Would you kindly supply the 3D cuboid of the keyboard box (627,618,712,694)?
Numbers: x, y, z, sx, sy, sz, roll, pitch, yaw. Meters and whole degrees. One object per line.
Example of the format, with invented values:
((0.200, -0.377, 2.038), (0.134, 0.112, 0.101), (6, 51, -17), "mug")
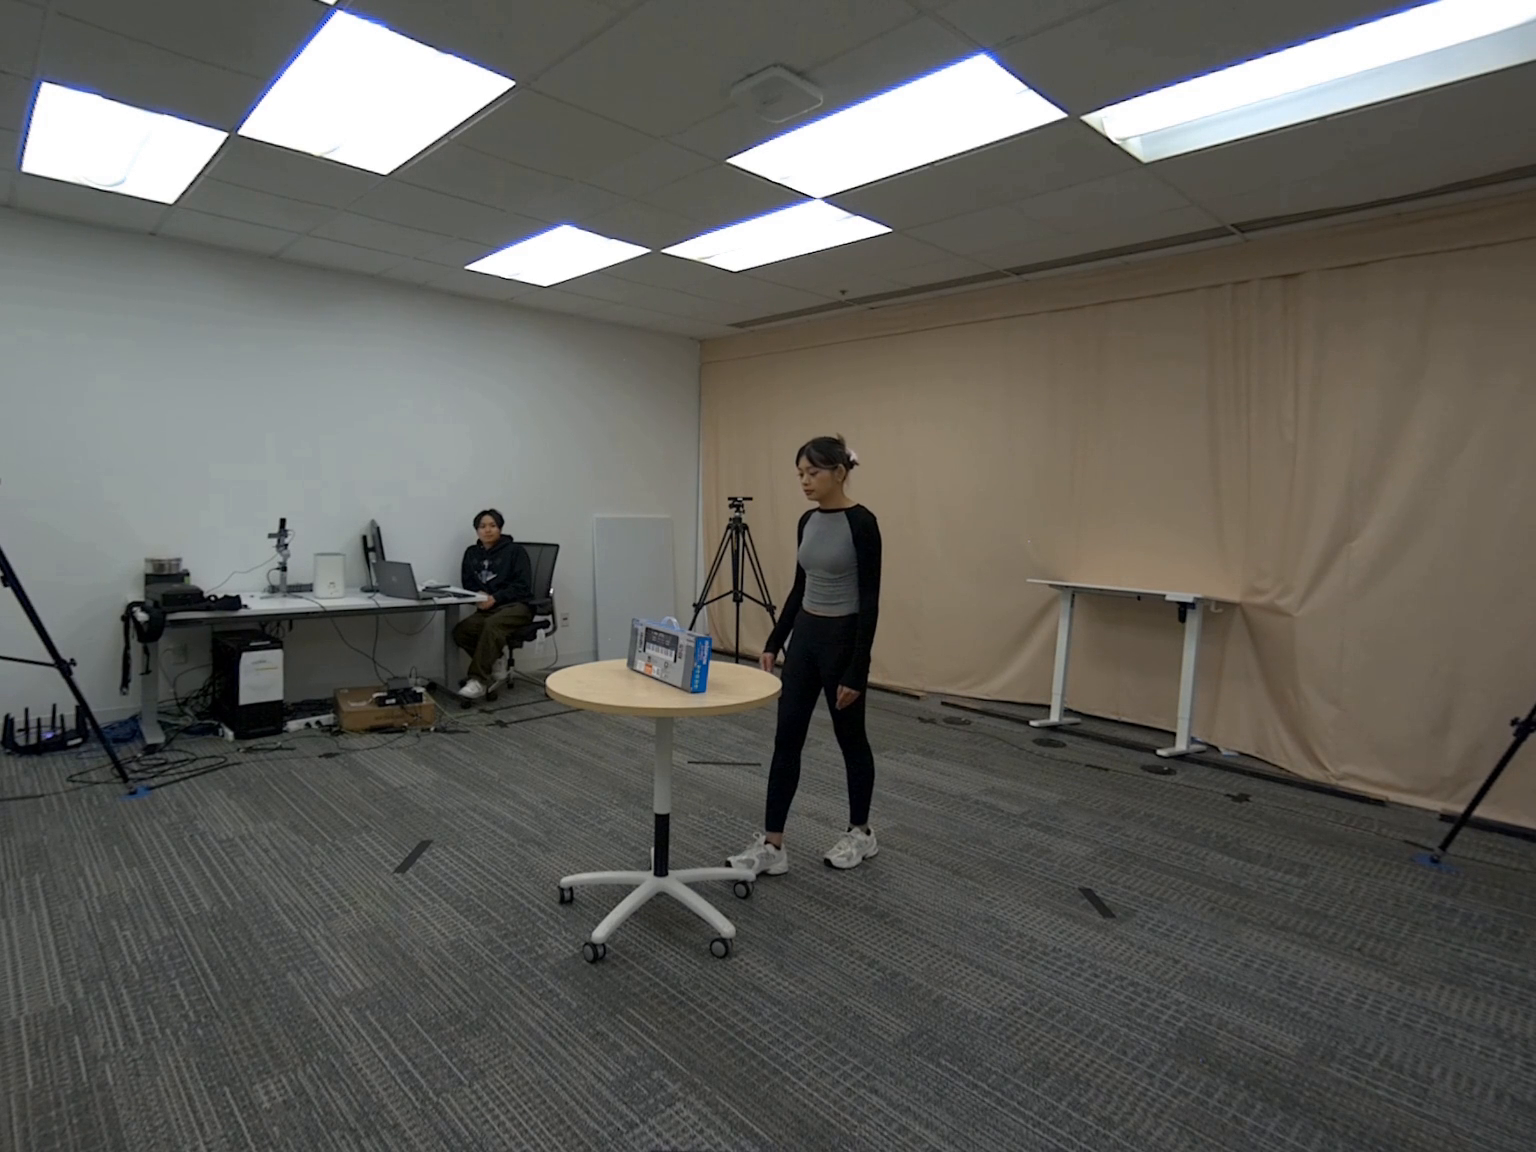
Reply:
((-0.339, 0.256, 2.757), (0.058, 0.176, 0.447), (6, 1, -35), "keyboard box")
